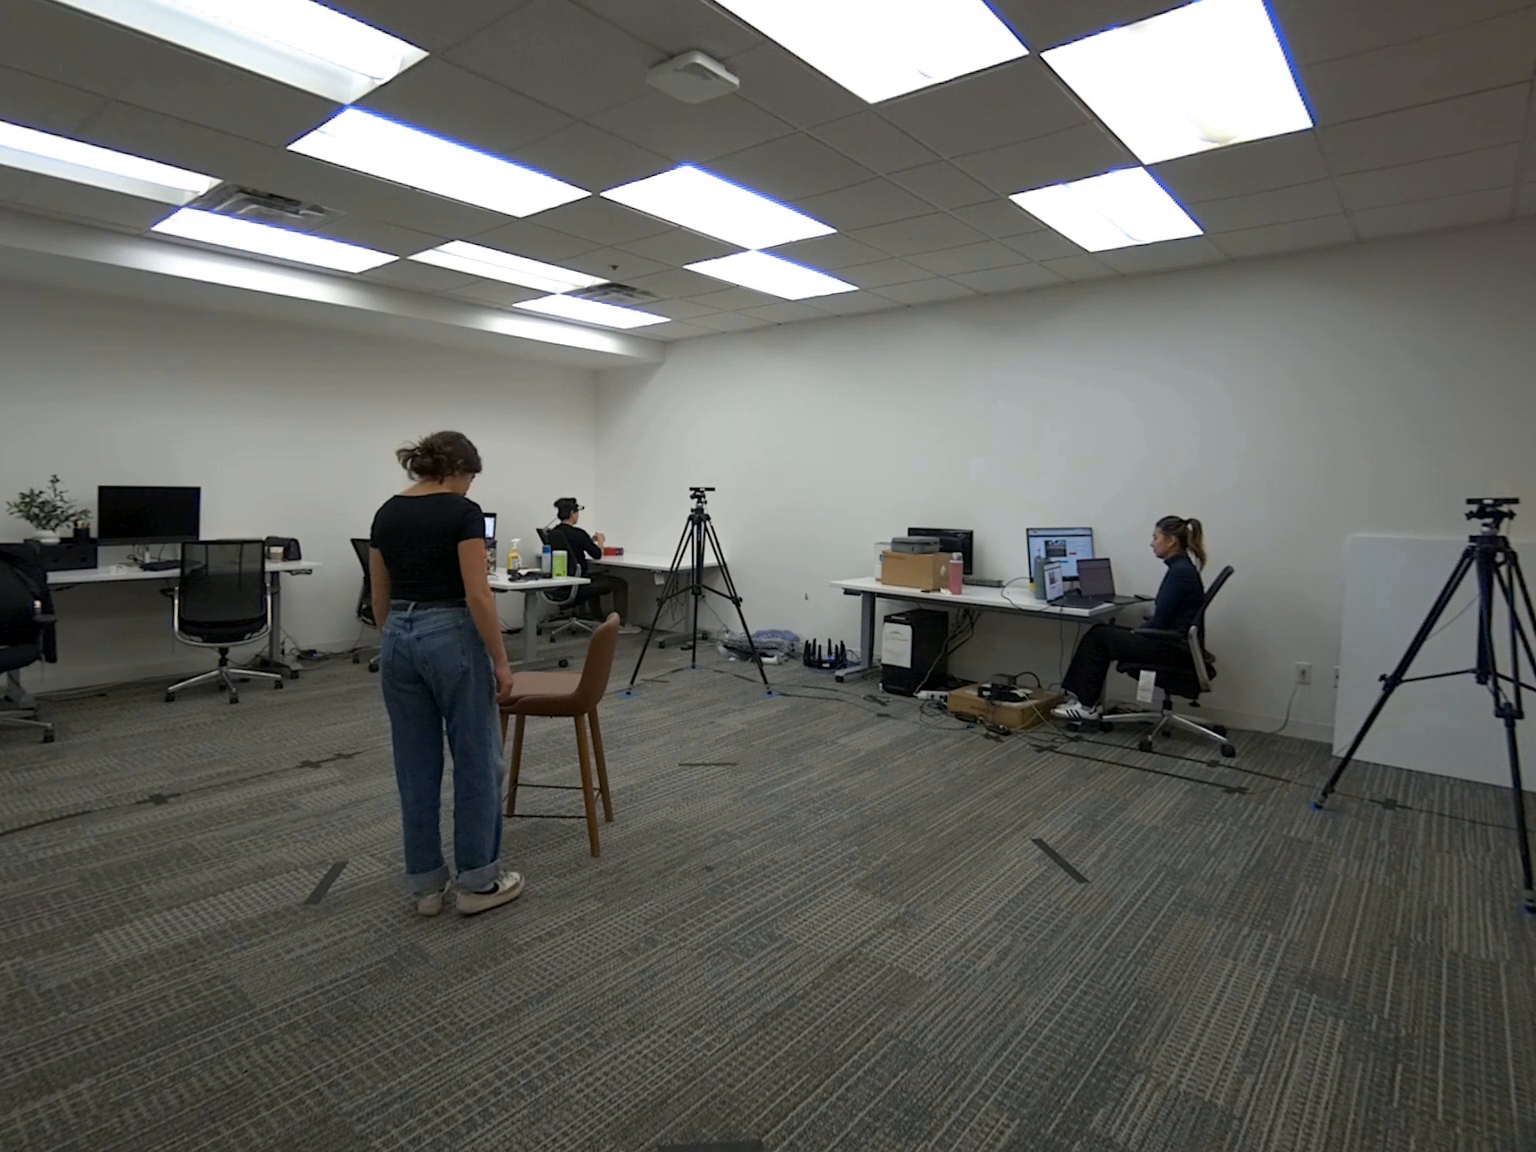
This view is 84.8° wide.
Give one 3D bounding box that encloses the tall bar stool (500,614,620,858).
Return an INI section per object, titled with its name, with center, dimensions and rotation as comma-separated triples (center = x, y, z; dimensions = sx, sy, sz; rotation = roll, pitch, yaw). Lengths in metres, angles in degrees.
[tall bar stool]
center = -0.866, 0.599, 3.363
dimensions = 0.468, 0.888, 0.457
rotation = 3, 3, 1
